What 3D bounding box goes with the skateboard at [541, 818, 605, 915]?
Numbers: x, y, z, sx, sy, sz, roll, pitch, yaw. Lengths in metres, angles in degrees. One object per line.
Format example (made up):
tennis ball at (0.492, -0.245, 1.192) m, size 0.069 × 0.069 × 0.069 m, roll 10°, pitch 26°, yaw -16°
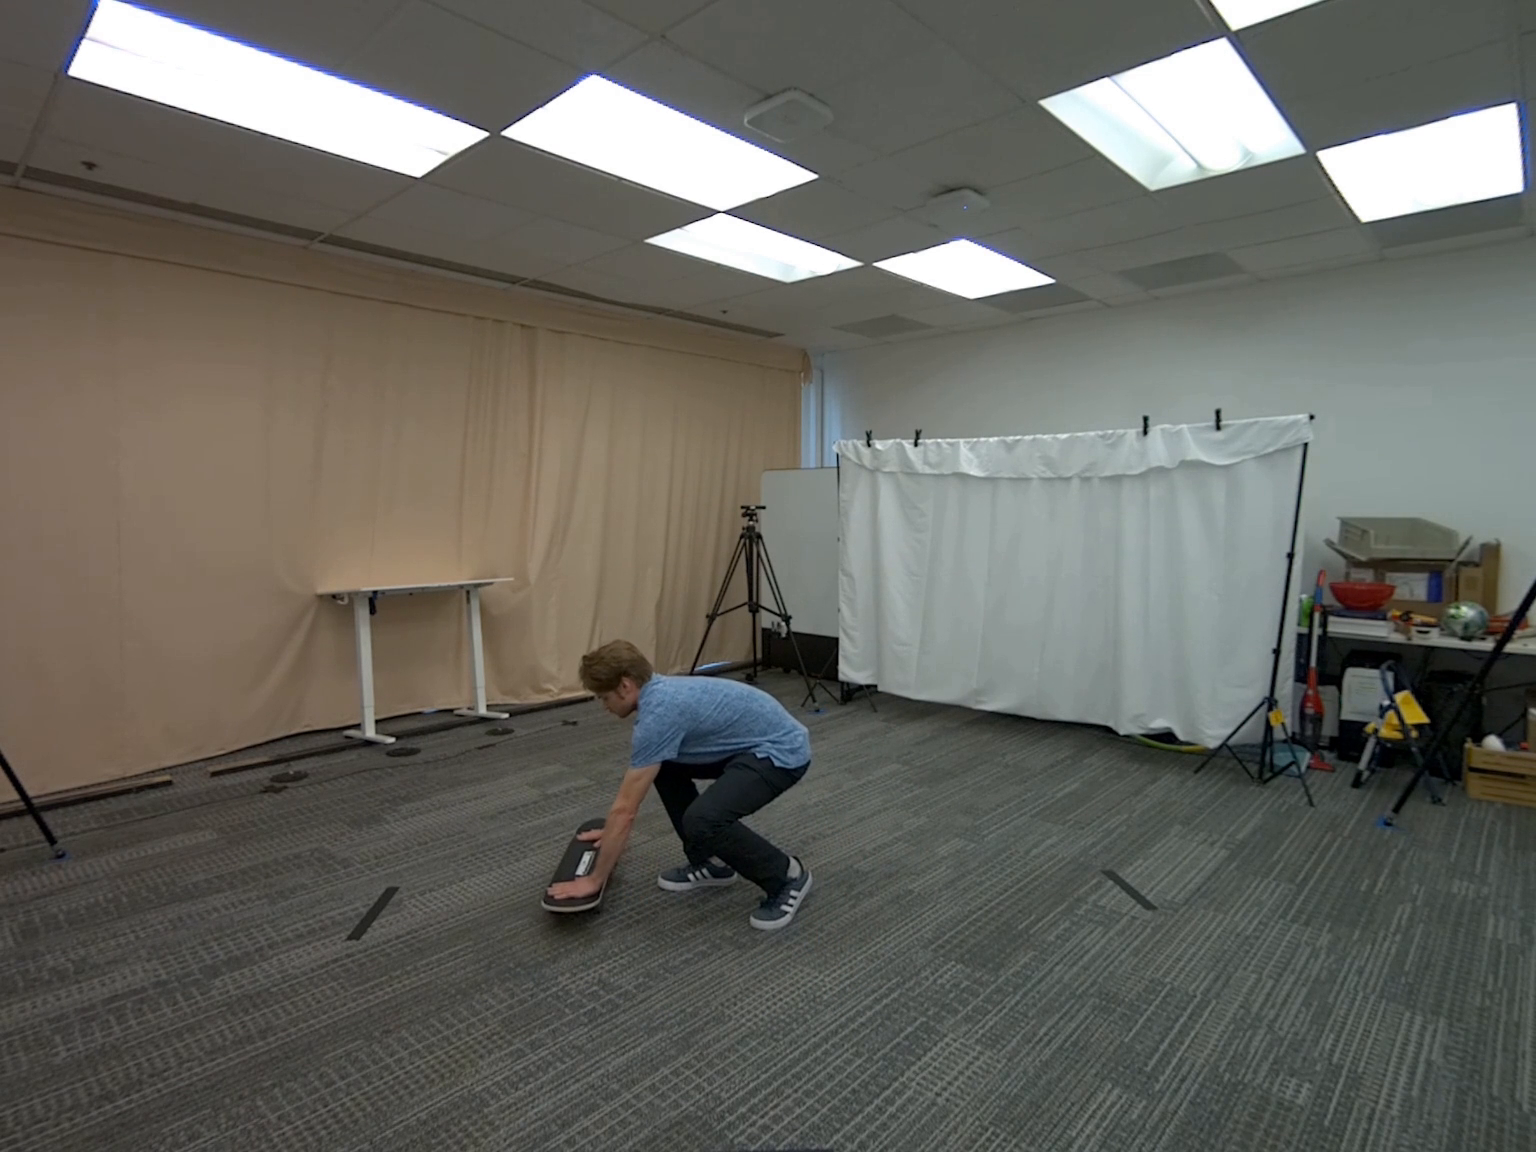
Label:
skateboard at (-0.656, 1.076, 3.089) m, size 0.193 × 0.110 × 0.787 m, roll -2°, pitch 5°, yaw -2°
